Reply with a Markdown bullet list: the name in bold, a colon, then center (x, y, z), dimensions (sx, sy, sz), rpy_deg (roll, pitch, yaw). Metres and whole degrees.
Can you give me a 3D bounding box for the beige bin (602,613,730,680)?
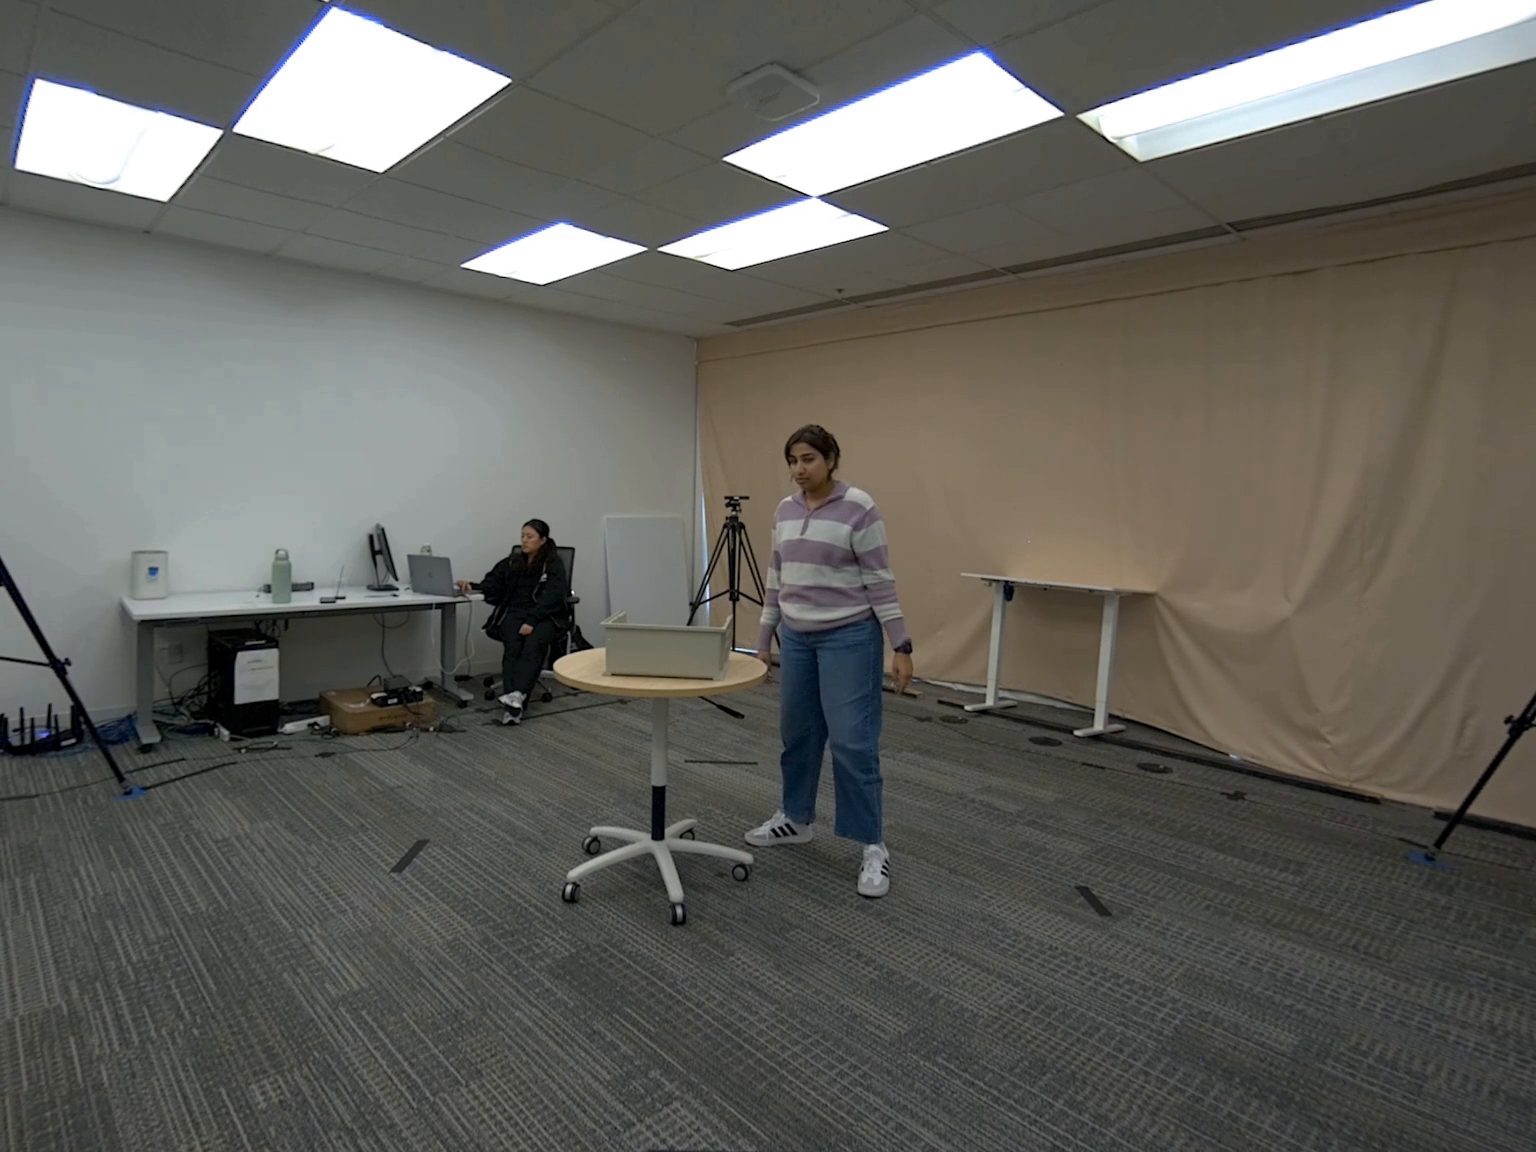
- **beige bin**: center (-0.351, 0.238, 2.986), dimensions (0.424, 0.188, 0.377), rpy_deg (3, 6, 3)
